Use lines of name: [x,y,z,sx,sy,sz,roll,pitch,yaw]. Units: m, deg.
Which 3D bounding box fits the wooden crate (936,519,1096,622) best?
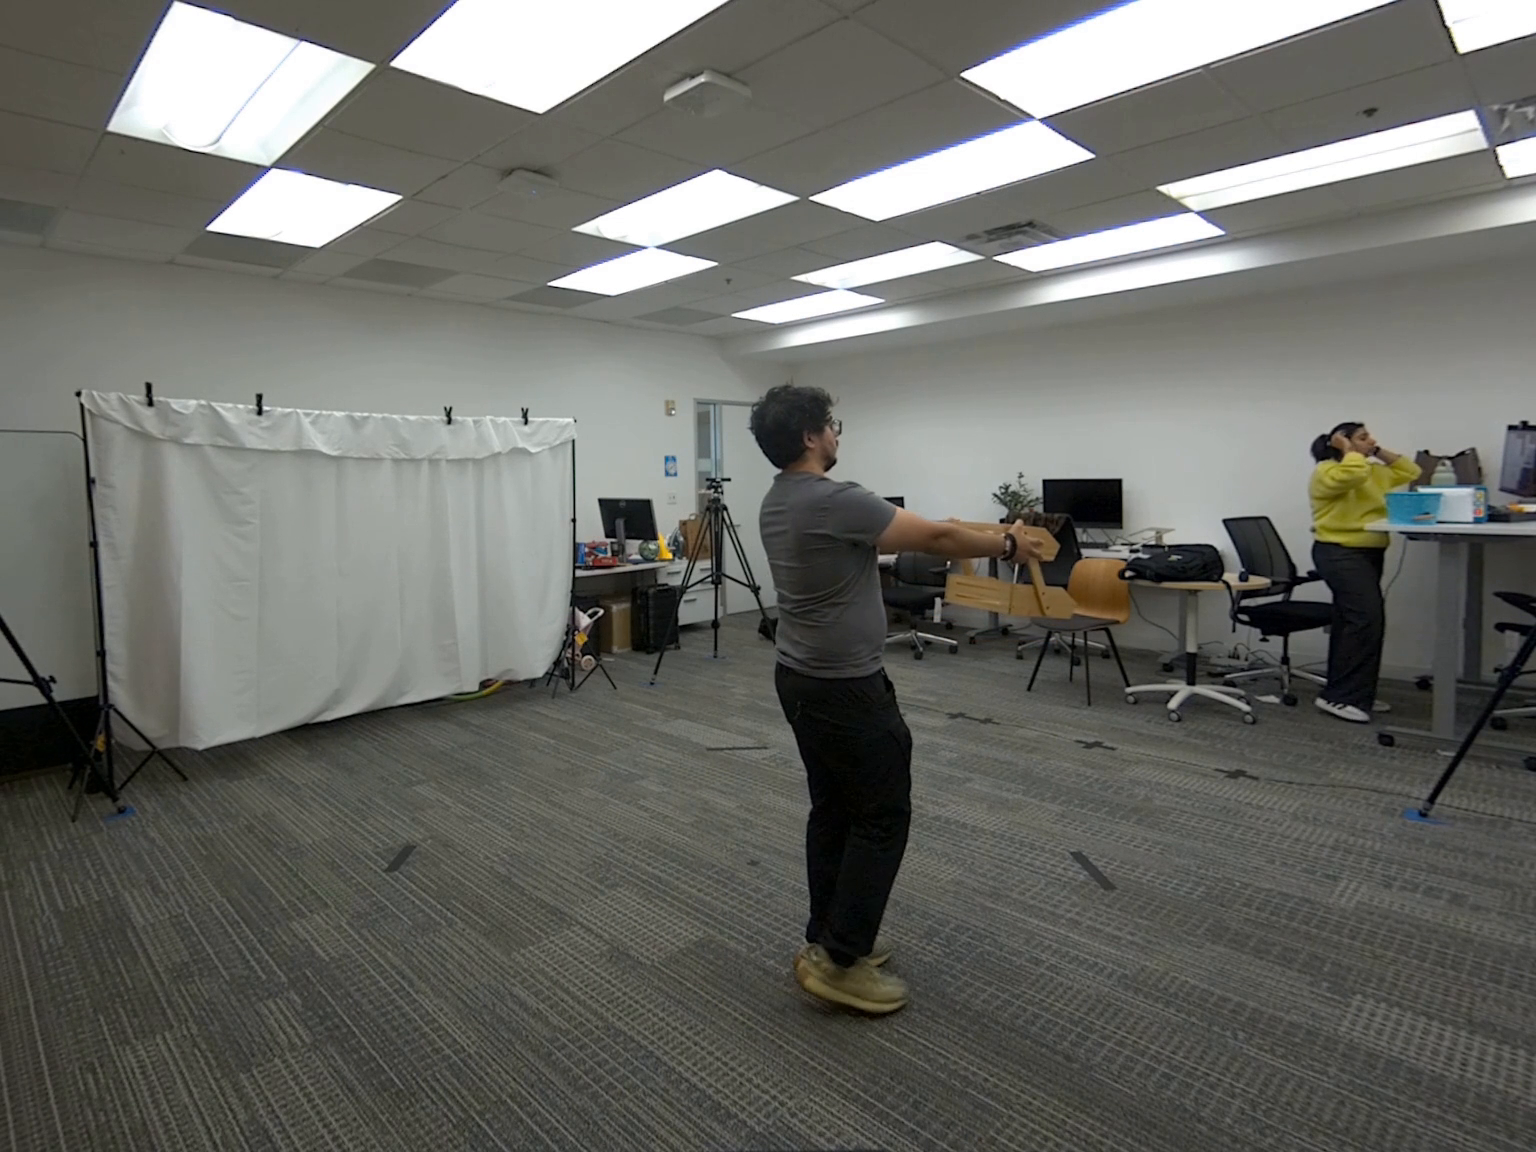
wooden crate: [0.752,-0.024,2.632,0.295,0.273,0.332,4,2,-24]
